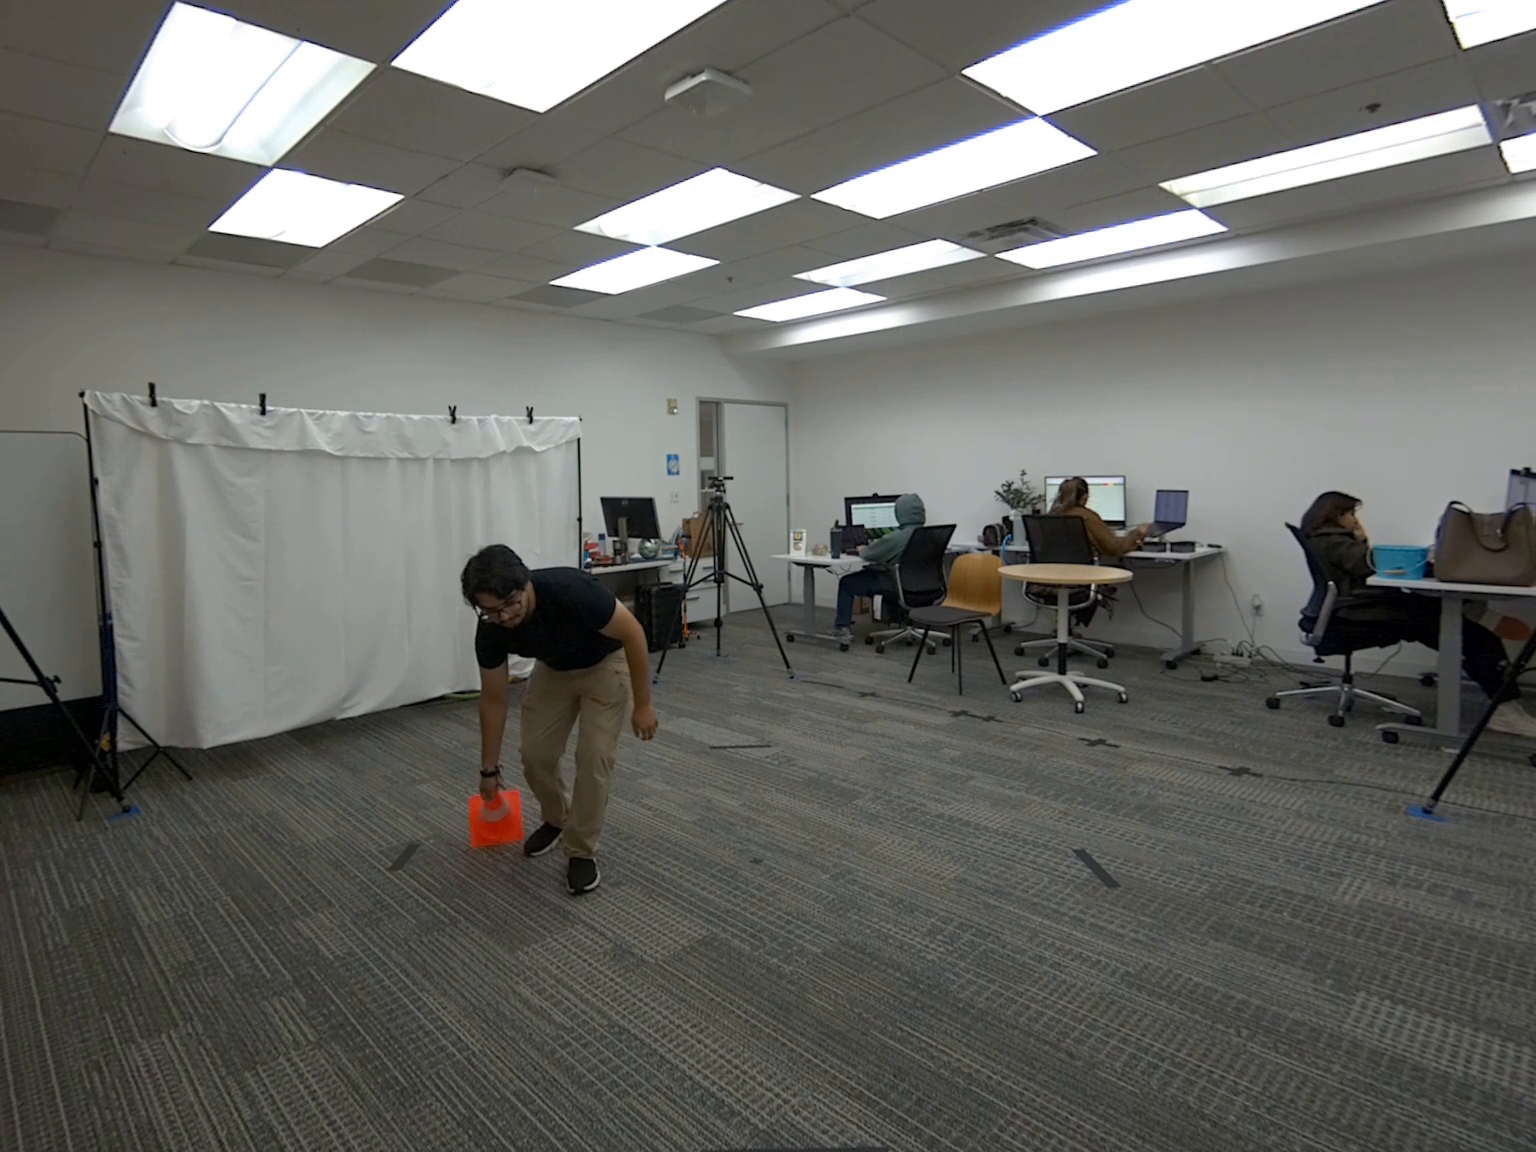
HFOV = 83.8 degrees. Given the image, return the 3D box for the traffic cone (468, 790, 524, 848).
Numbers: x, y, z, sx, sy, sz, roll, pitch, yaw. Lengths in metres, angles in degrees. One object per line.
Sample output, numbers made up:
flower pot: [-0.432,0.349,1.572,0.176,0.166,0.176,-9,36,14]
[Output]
traffic cone: [-1.019,0.856,3.196,0.200,0.210,0.378,0,-30,-15]
